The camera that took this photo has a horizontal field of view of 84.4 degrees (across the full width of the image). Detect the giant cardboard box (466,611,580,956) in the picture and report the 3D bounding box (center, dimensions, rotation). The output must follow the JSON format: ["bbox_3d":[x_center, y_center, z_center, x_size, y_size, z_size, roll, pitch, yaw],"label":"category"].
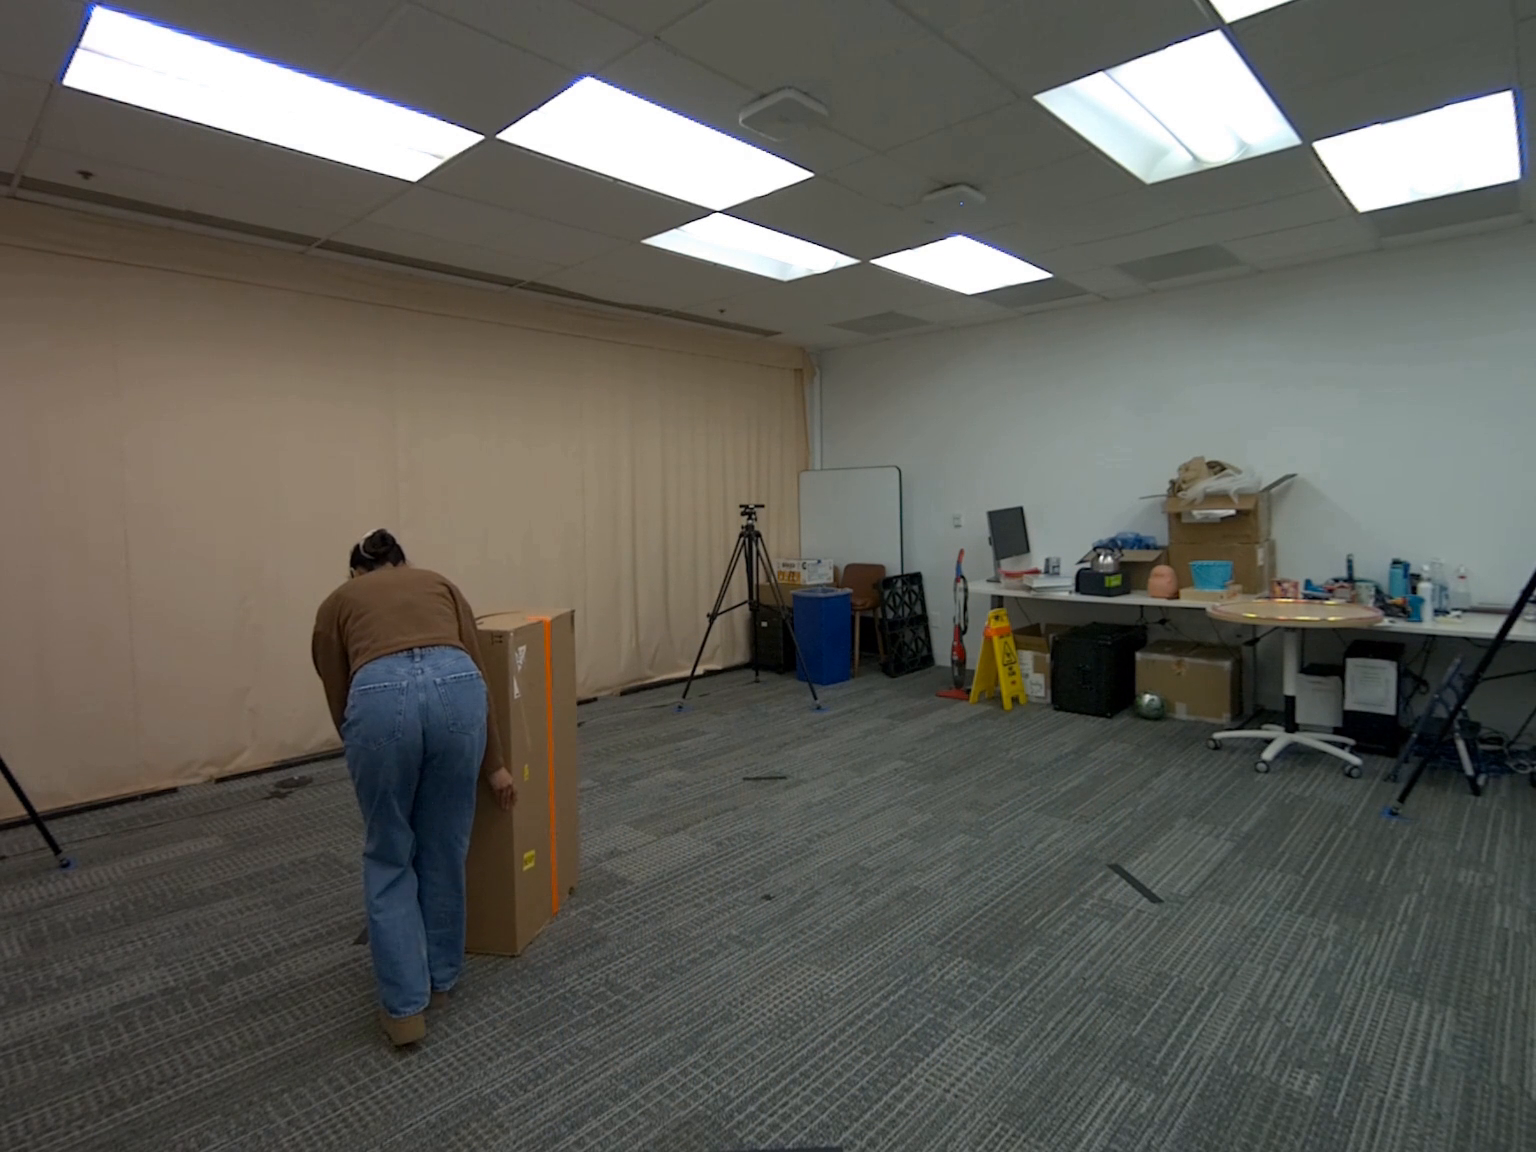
[{"bbox_3d":[-0.949,0.658,2.917,0.431,1.024,0.572,0,2,8],"label":"giant cardboard box"}]
